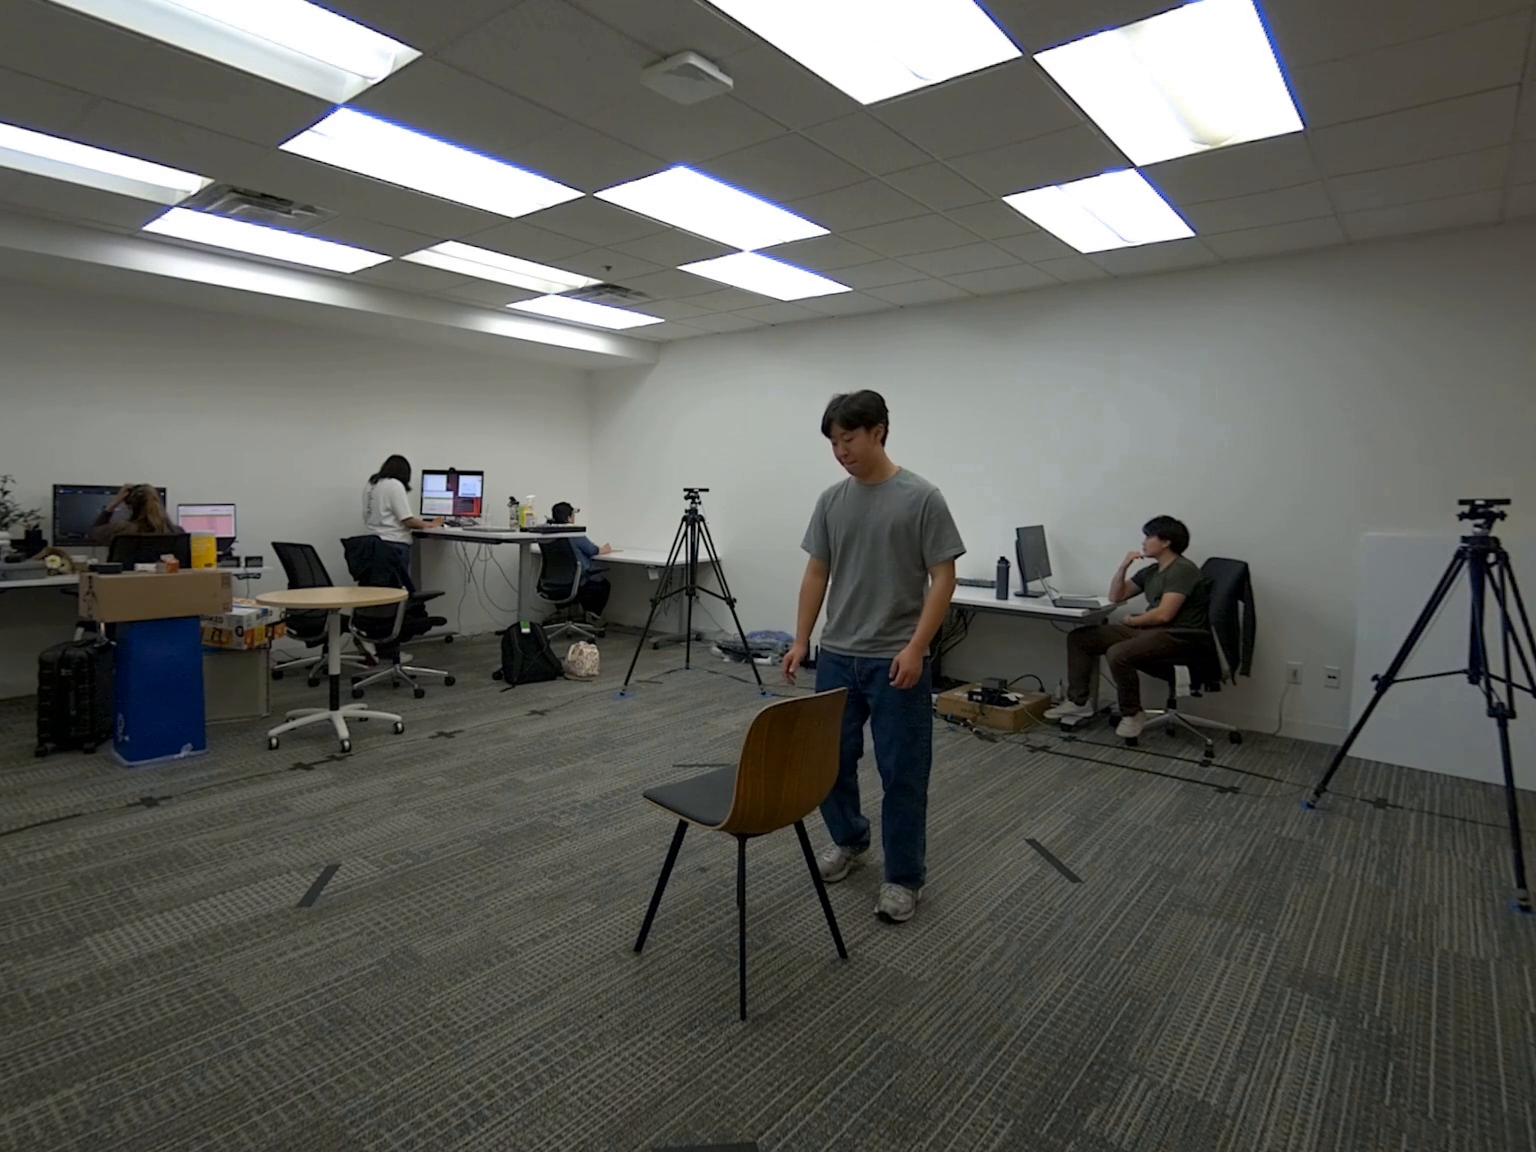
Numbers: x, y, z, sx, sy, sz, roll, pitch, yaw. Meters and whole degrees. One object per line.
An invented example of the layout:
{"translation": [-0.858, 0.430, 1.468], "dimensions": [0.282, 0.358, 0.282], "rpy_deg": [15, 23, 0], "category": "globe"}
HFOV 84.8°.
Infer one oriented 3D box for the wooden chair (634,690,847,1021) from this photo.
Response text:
{"translation": [-0.087, 0.703, 2.518], "dimensions": [0.542, 0.872, 0.463], "rpy_deg": [11, 9, 43], "category": "wooden chair"}
